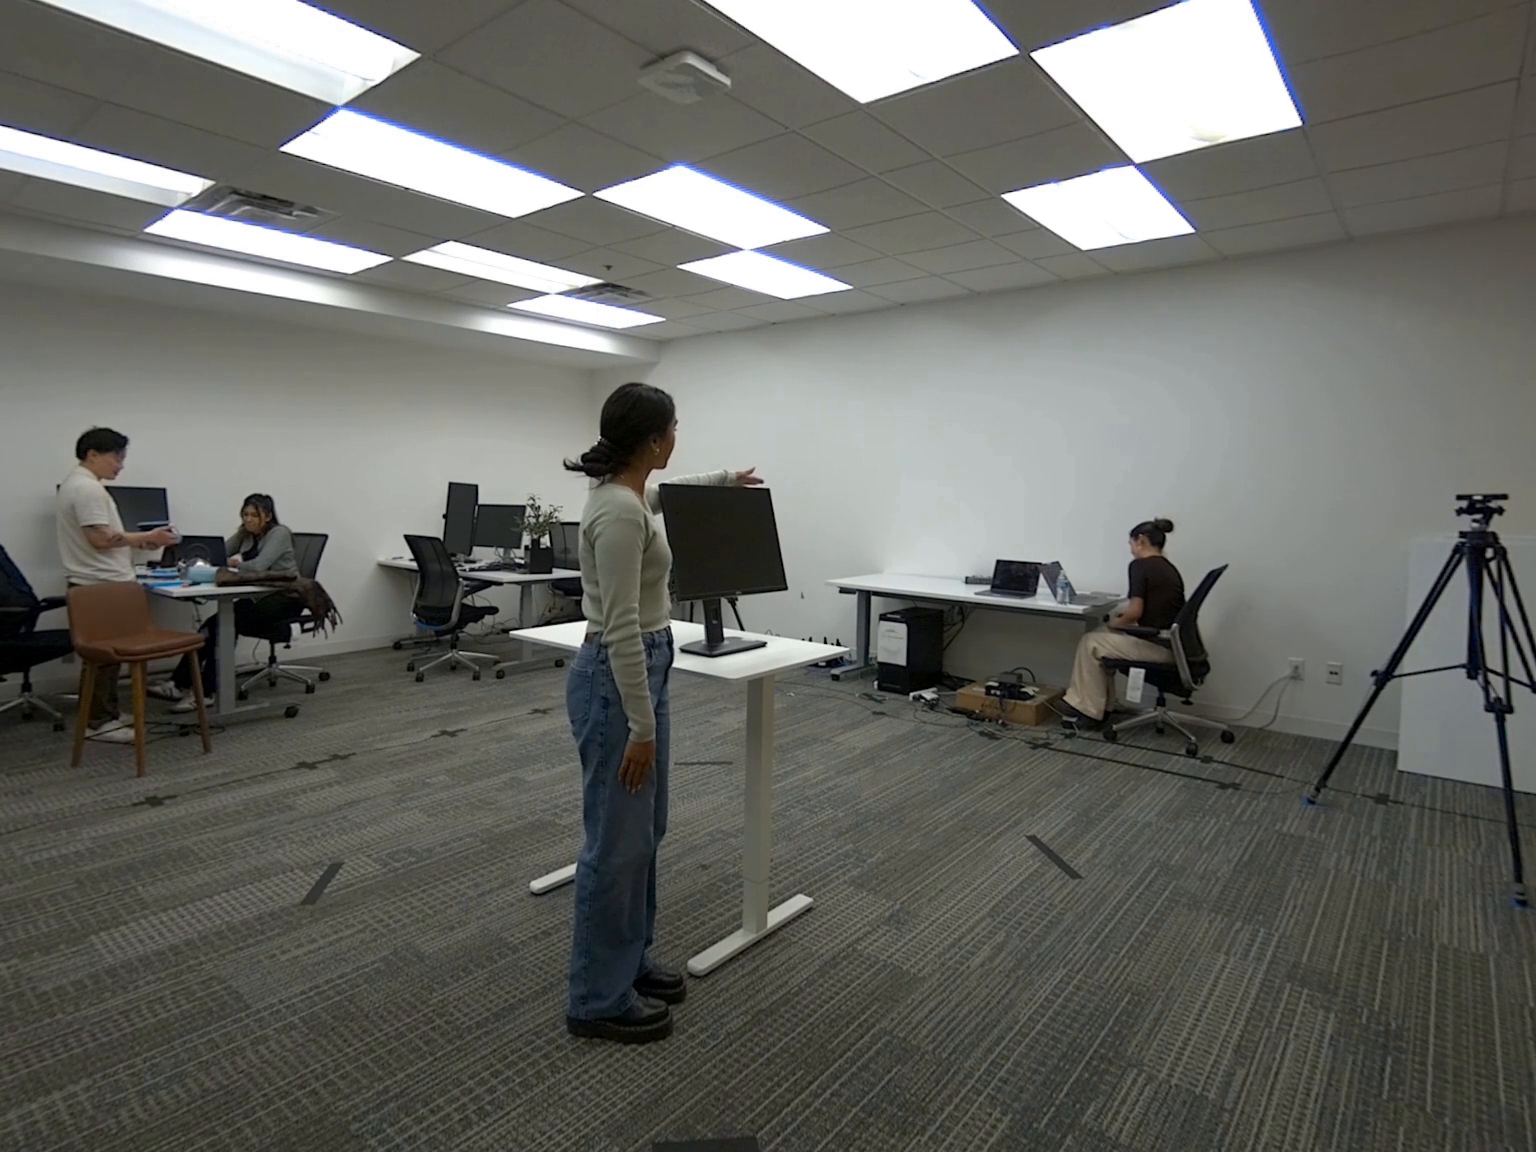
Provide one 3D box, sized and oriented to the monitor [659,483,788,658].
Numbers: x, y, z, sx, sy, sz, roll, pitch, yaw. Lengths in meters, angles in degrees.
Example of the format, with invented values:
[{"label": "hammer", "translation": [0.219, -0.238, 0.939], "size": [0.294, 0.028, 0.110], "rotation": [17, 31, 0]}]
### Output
[{"label": "monitor", "translation": [-0.159, -0.025, 2.686], "size": [0.193, 0.521, 0.524], "rotation": [0, 3, 36]}]
